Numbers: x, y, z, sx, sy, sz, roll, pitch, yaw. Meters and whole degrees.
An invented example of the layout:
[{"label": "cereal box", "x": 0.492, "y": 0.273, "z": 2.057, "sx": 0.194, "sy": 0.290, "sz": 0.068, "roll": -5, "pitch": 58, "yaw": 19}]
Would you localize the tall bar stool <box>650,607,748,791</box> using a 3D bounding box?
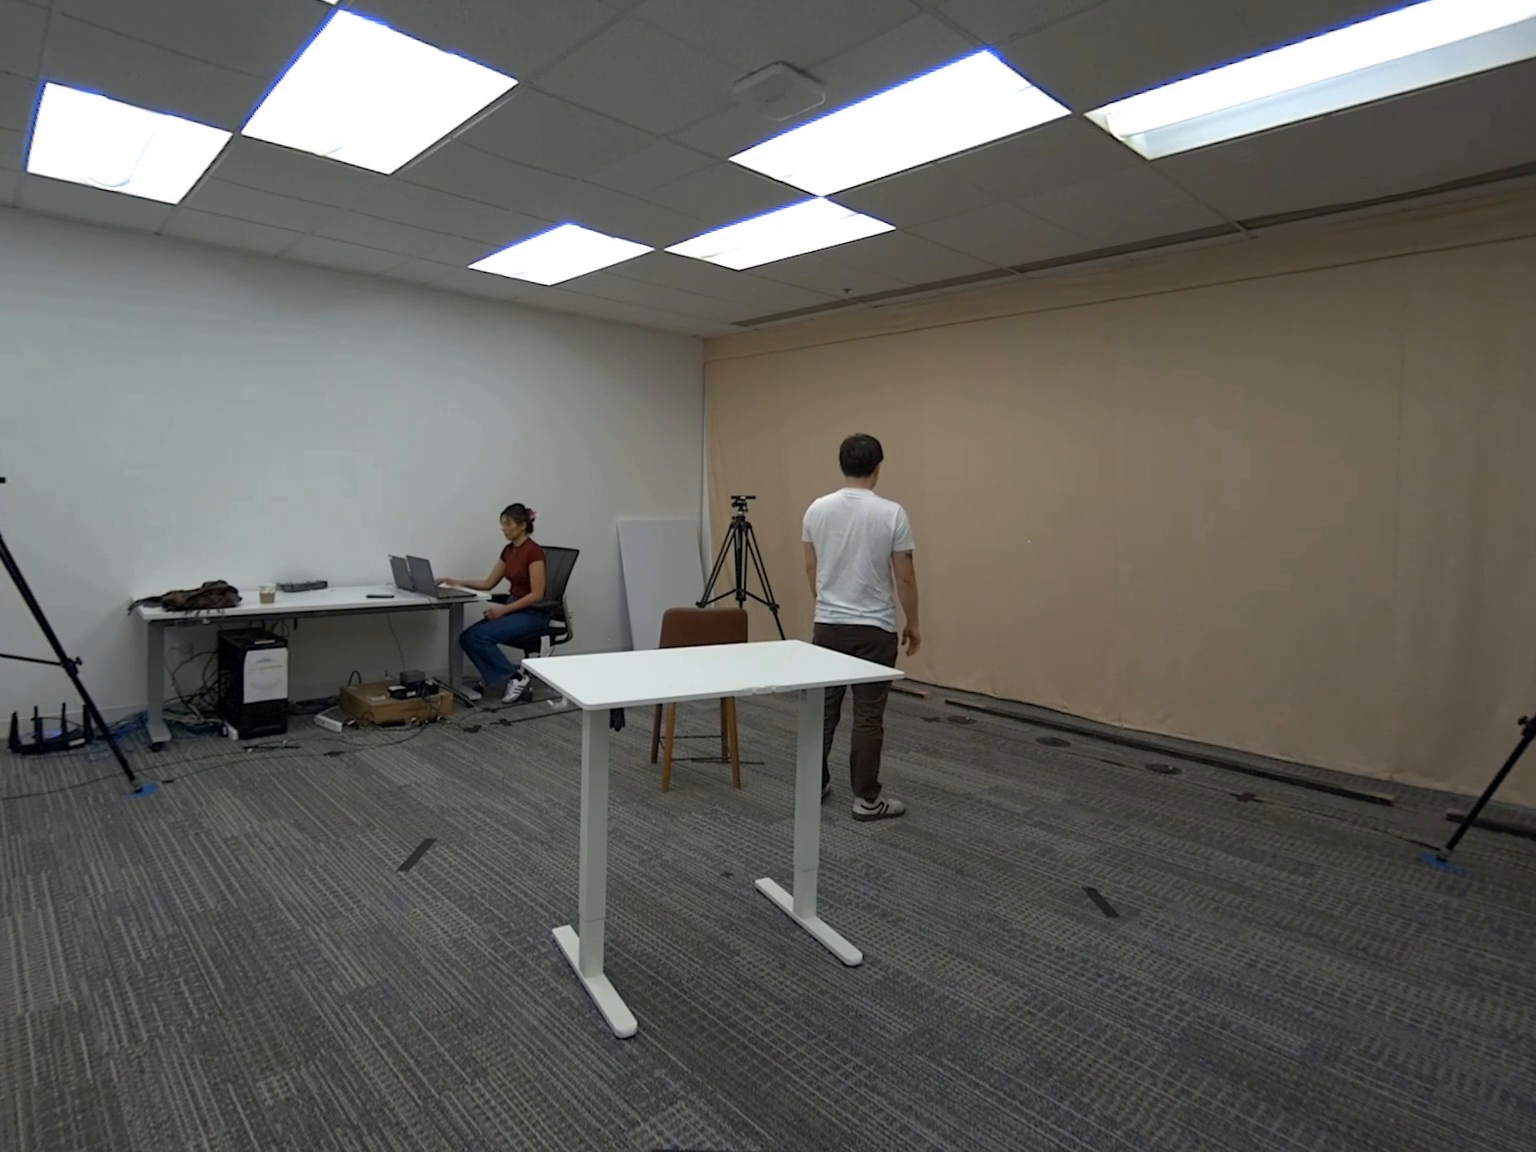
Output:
[{"label": "tall bar stool", "x": -0.355, "y": 0.566, "z": 4.196, "sx": 0.452, "sy": 0.887, "sz": 0.473, "roll": 1, "pitch": 5, "yaw": -12}]
